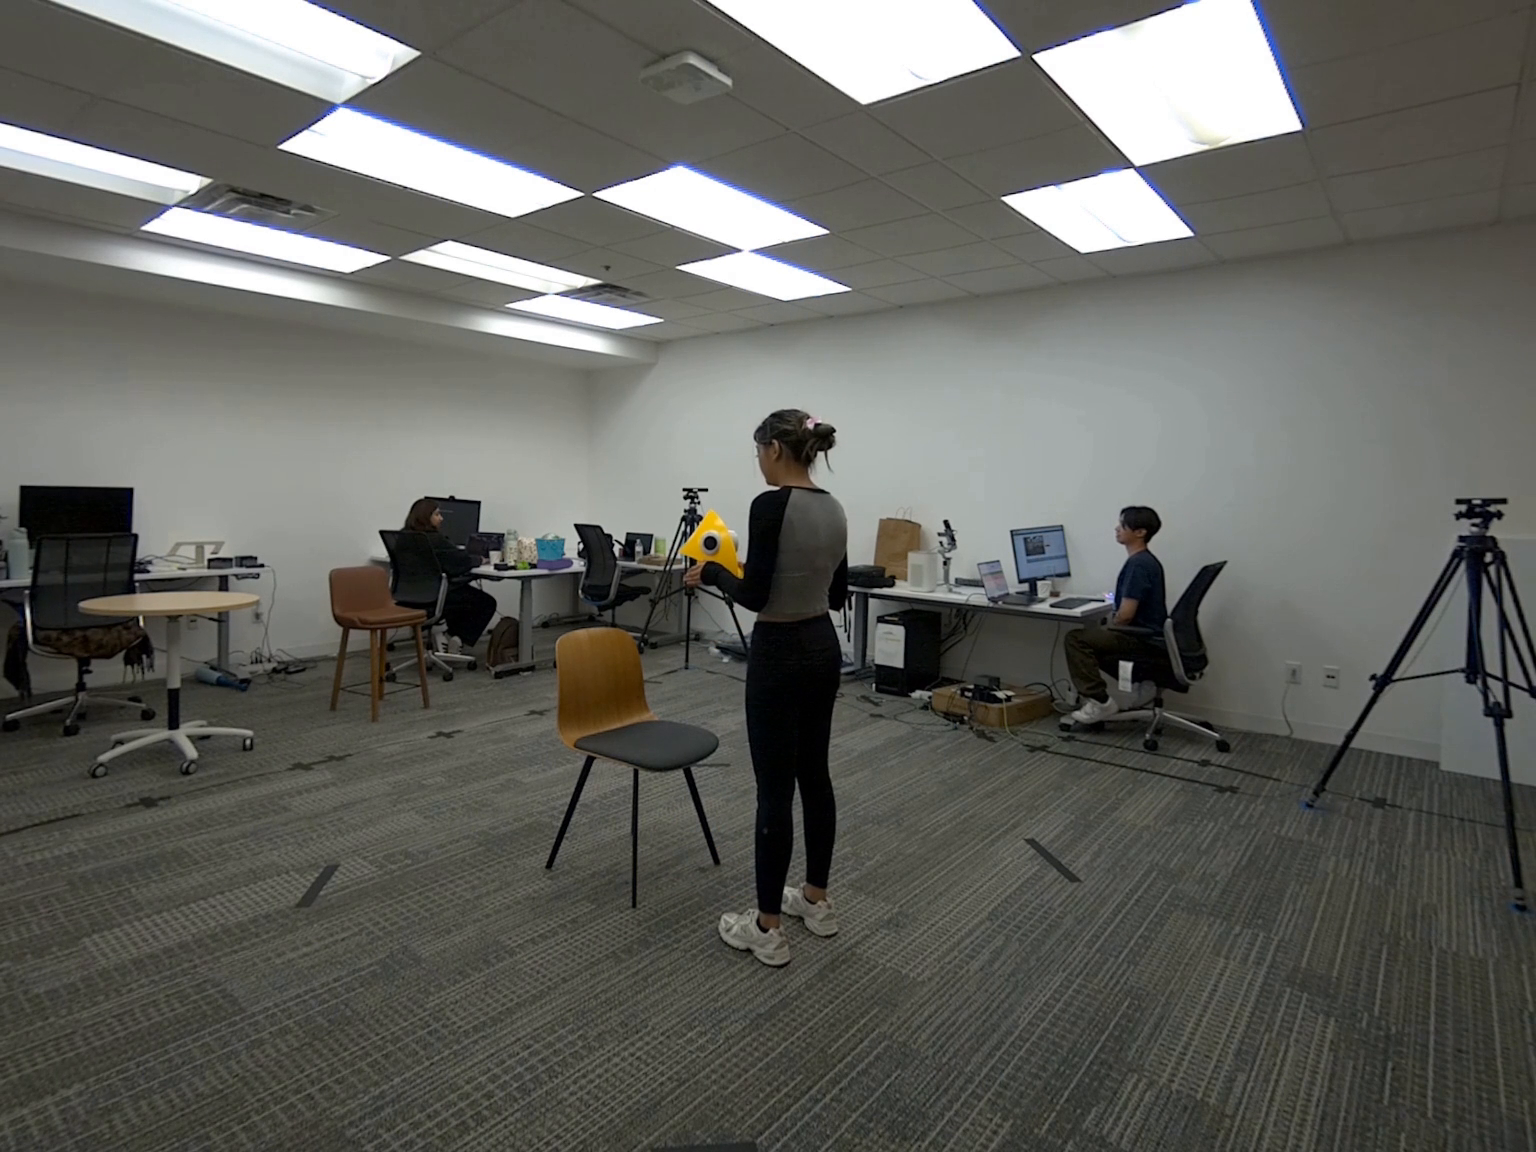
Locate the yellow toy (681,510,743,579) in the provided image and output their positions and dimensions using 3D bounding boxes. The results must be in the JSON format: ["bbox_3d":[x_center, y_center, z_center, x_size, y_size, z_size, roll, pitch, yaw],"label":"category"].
[{"bbox_3d":[-0.167,-0.101,2.824,0.200,0.229,0.198,12,9,39],"label":"yellow toy"}]
